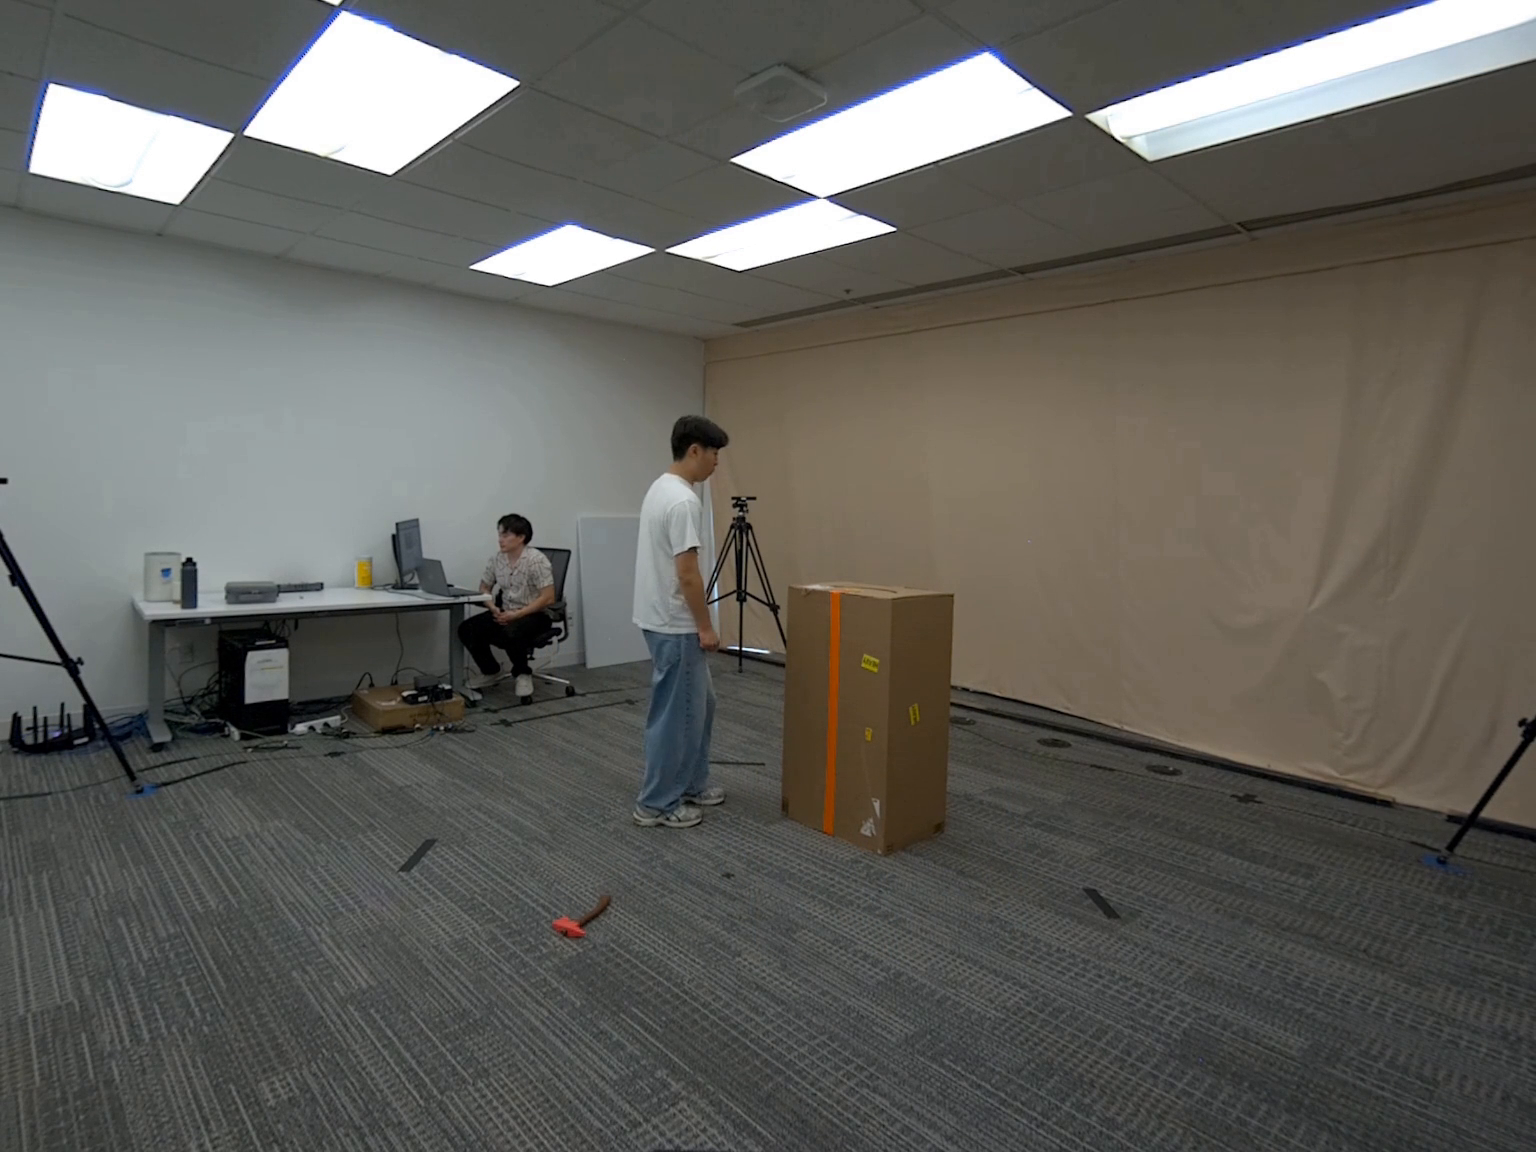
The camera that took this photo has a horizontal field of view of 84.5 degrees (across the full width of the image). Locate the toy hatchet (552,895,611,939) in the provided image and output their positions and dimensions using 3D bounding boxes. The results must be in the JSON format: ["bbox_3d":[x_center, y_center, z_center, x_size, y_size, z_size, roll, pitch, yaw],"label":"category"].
[{"bbox_3d":[-0.630,1.117,2.771,0.132,0.029,0.268,1,4,9],"label":"toy hatchet"}]
